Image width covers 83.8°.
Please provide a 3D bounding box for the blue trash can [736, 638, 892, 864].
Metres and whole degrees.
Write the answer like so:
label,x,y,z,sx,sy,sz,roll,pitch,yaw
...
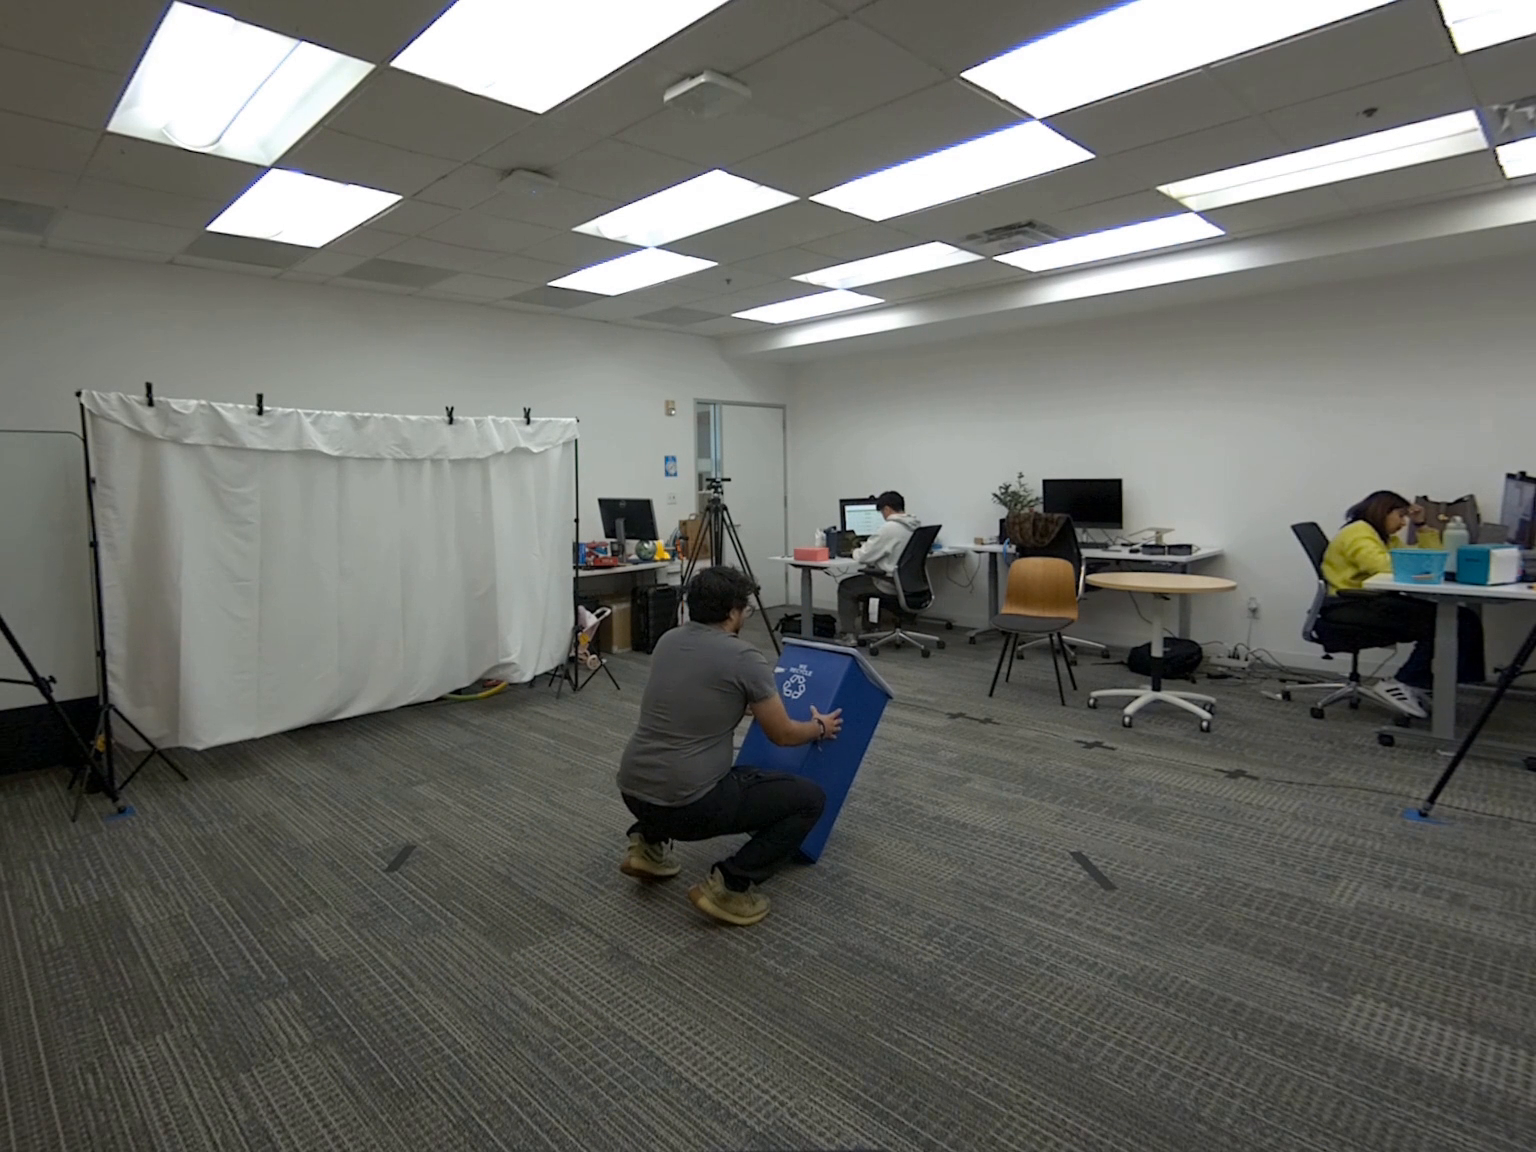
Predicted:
label,x,y,z,sx,sy,sz,roll,pitch,yaw
blue trash can,0.149,0.652,3.254,0.385,0.719,0.364,3,-32,41
